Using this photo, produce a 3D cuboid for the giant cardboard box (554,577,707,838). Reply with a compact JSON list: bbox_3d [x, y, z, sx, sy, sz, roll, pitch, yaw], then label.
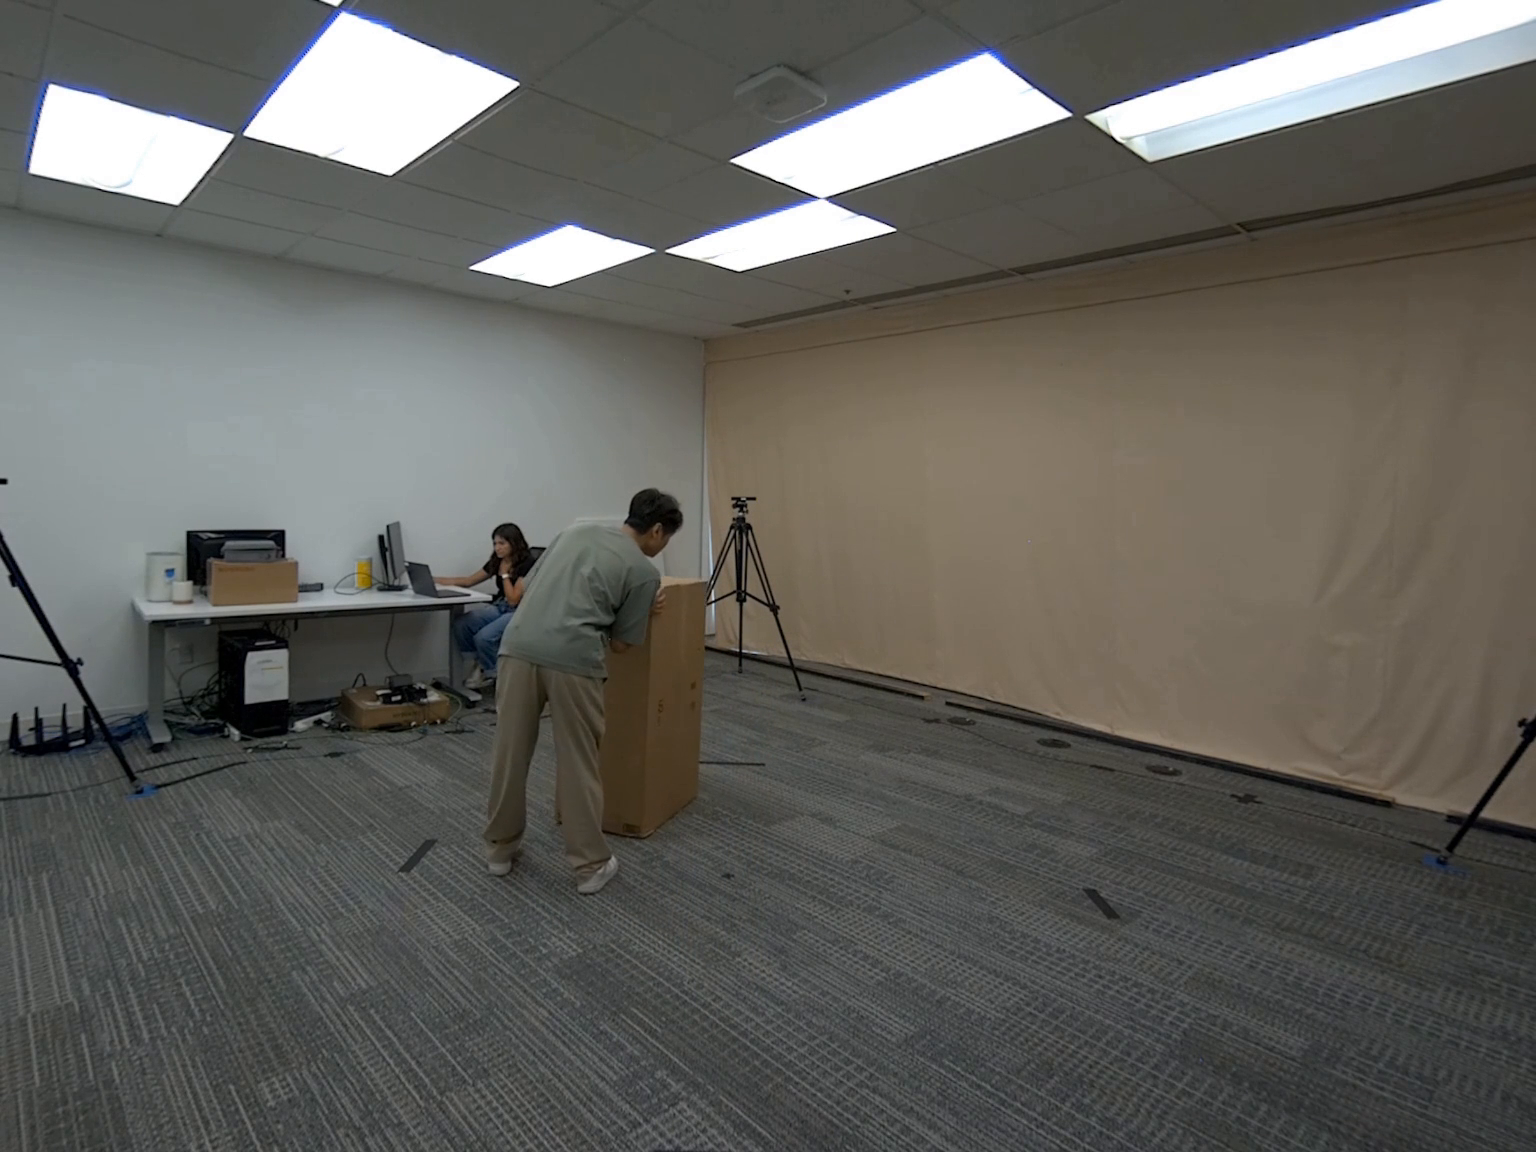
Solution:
[{"bbox_3d":[-0.594,0.531,3.738,0.433,1.024,0.569,4,3,19],"label":"giant cardboard box"}]
